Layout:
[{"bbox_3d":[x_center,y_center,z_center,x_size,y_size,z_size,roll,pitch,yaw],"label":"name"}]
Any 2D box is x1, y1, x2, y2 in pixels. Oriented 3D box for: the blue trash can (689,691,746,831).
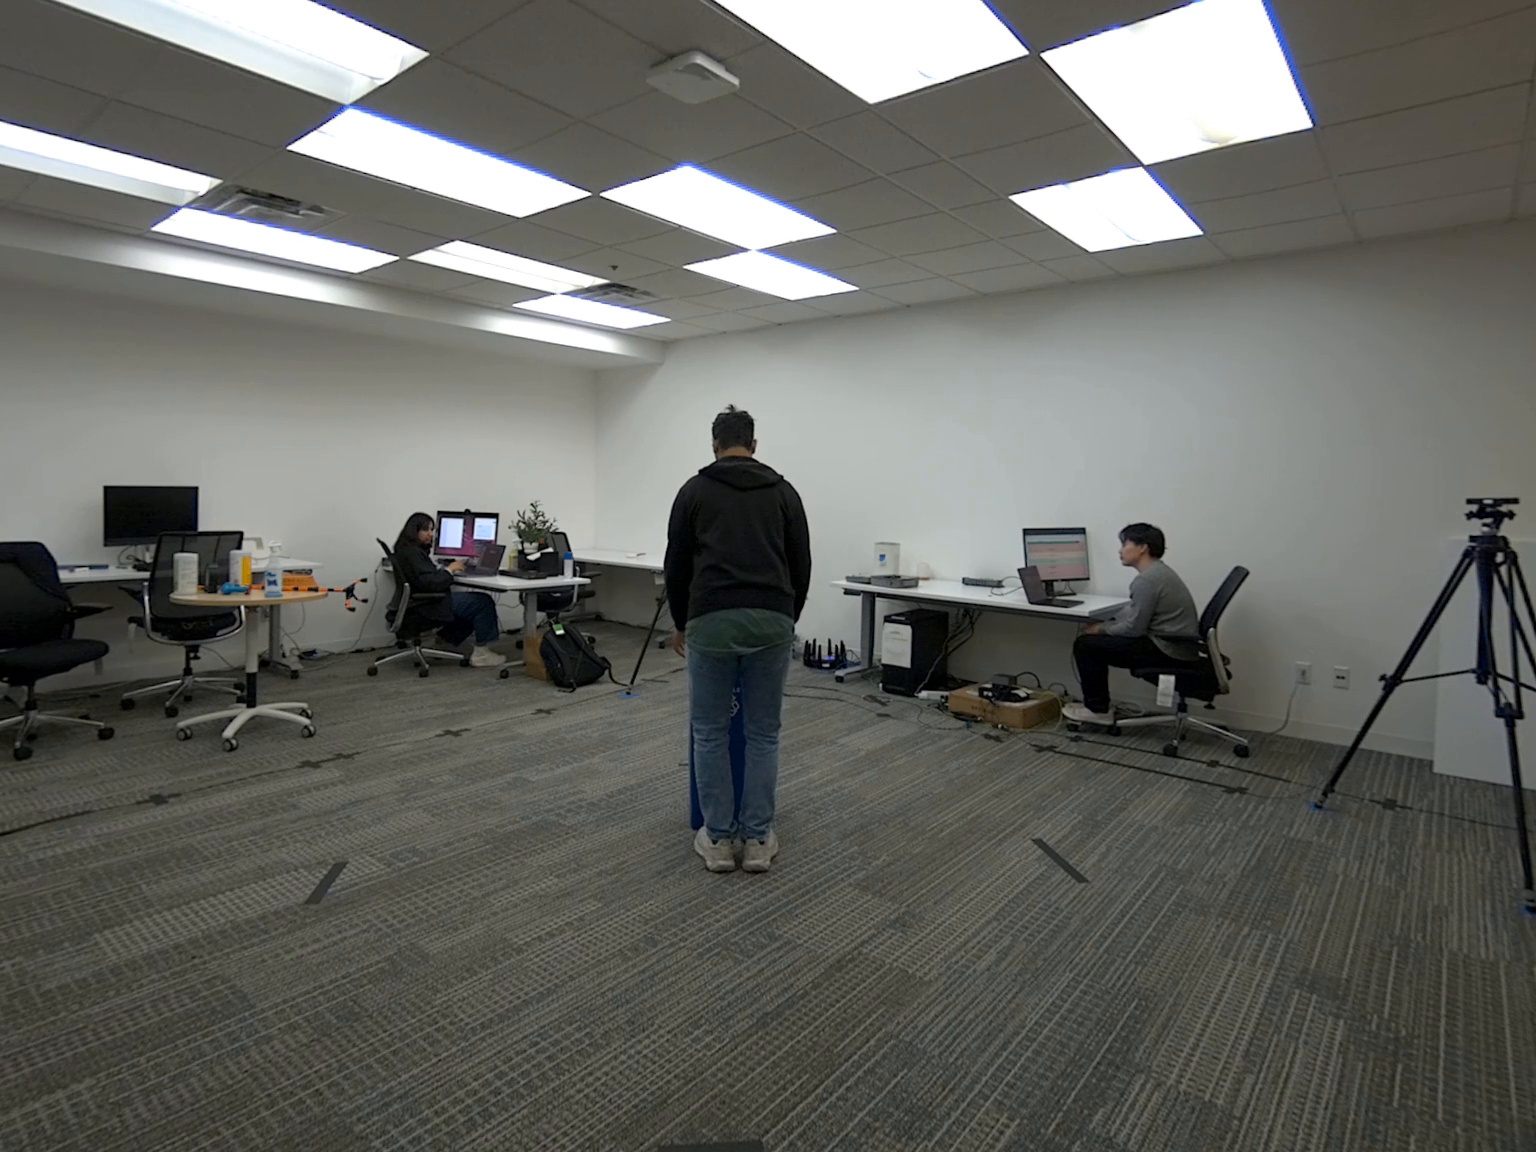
[{"bbox_3d":[-0.175,0.661,3.596,0.373,0.711,0.381,1,4,-4],"label":"blue trash can"}]
